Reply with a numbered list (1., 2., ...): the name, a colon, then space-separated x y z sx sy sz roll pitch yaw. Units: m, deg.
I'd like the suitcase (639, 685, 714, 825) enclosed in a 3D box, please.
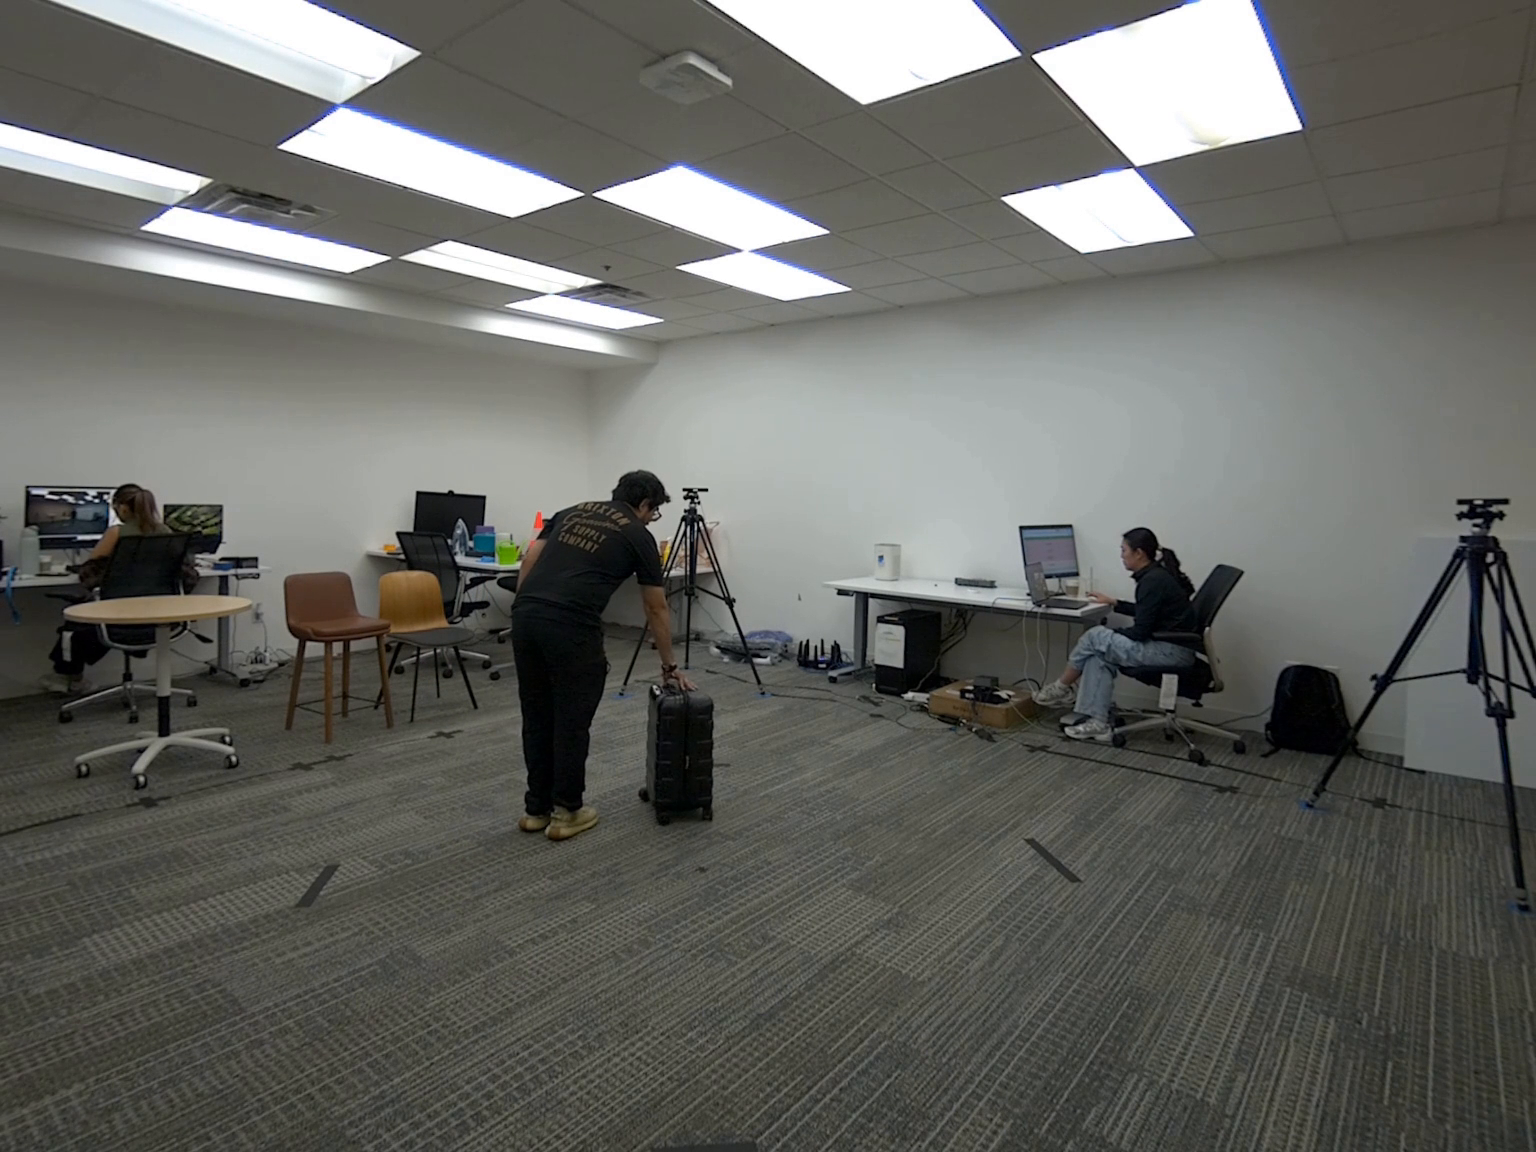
1. suitcase: -0.403 0.738 3.680 0.245 0.548 0.382 1 3 -14
